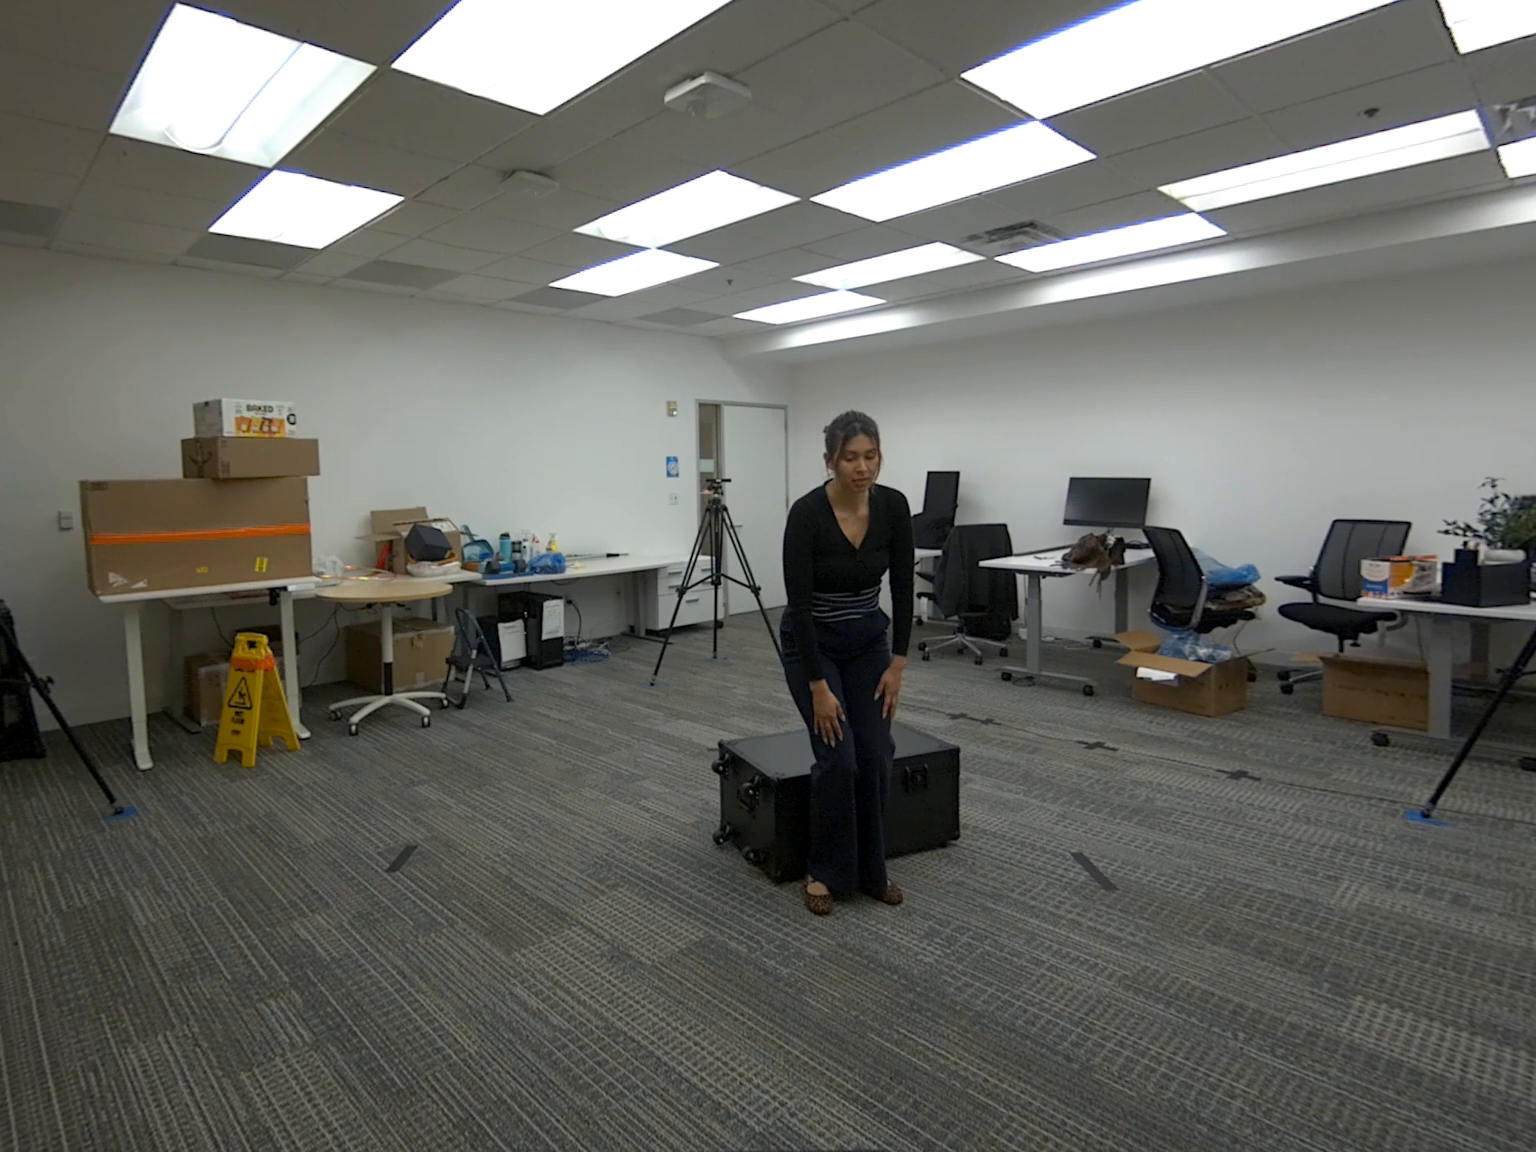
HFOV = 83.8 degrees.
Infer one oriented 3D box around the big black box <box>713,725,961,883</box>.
[{"bbox_3d":[0.291,0.826,3.289,0.844,0.394,0.534,-4,6,-25],"label":"big black box"}]
